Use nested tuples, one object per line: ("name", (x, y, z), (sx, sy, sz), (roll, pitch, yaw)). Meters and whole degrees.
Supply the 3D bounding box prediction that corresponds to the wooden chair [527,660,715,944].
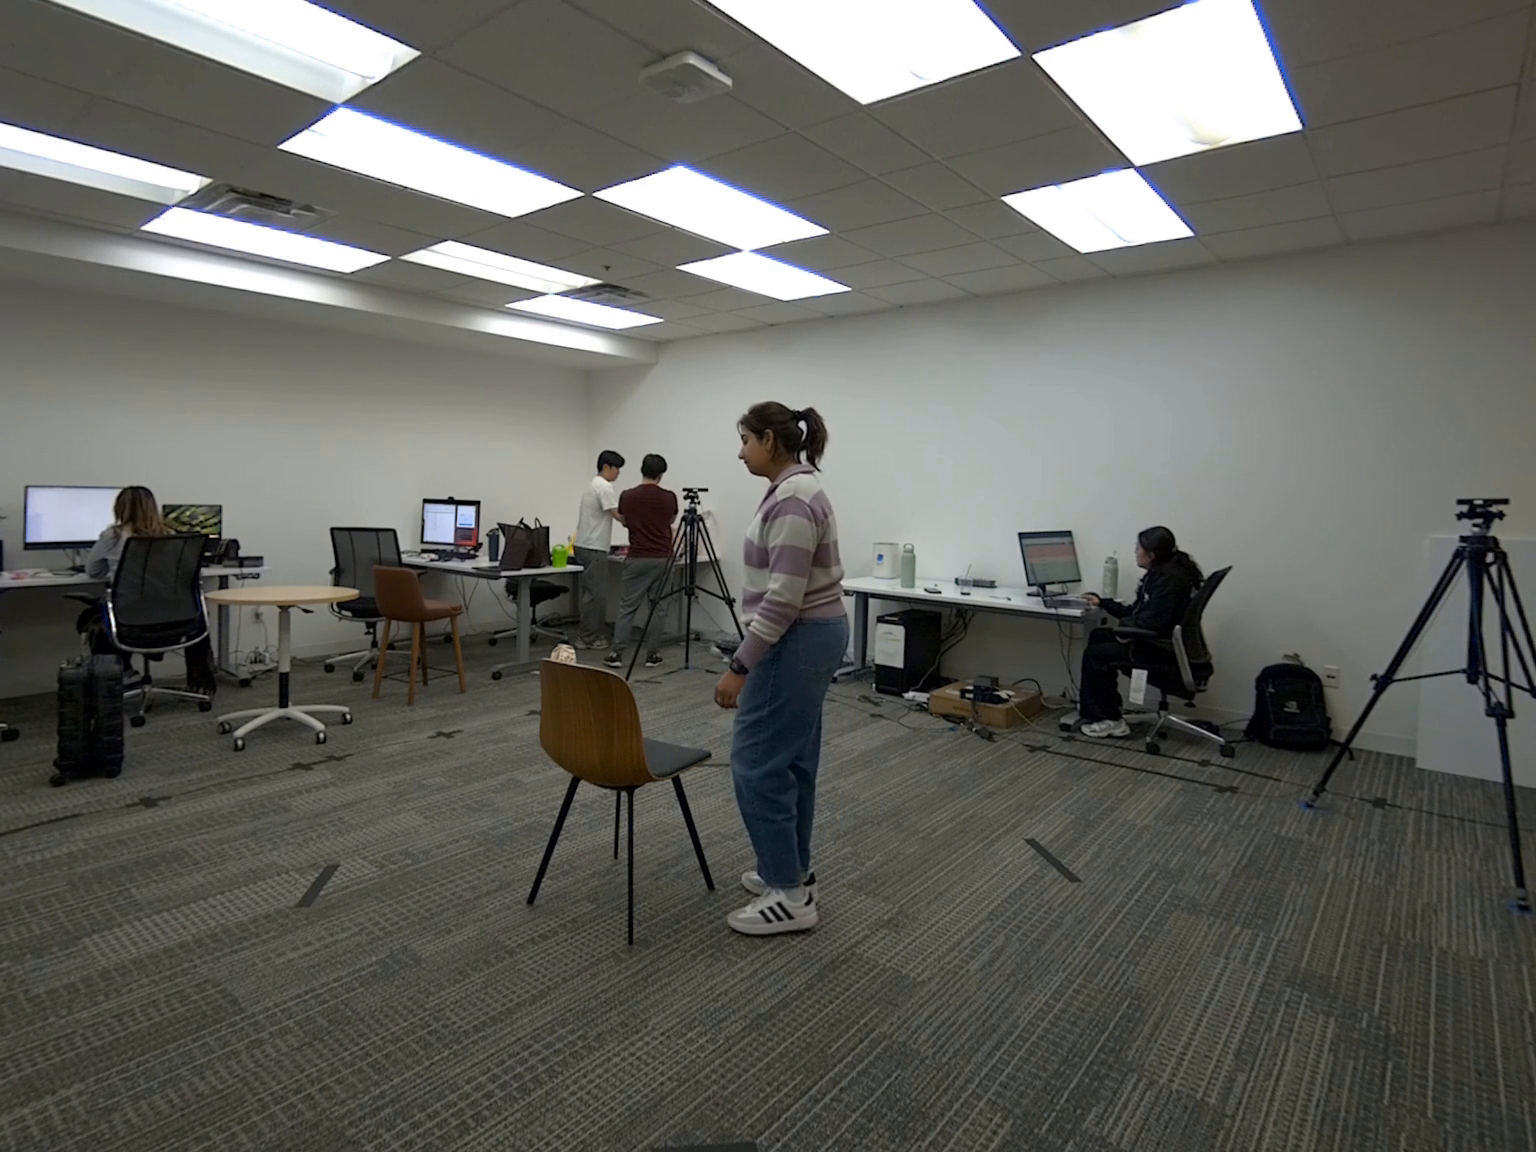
("wooden chair", (-0.493, 0.660, 2.869), (0.493, 0.872, 0.511), (3, 8, 32))
